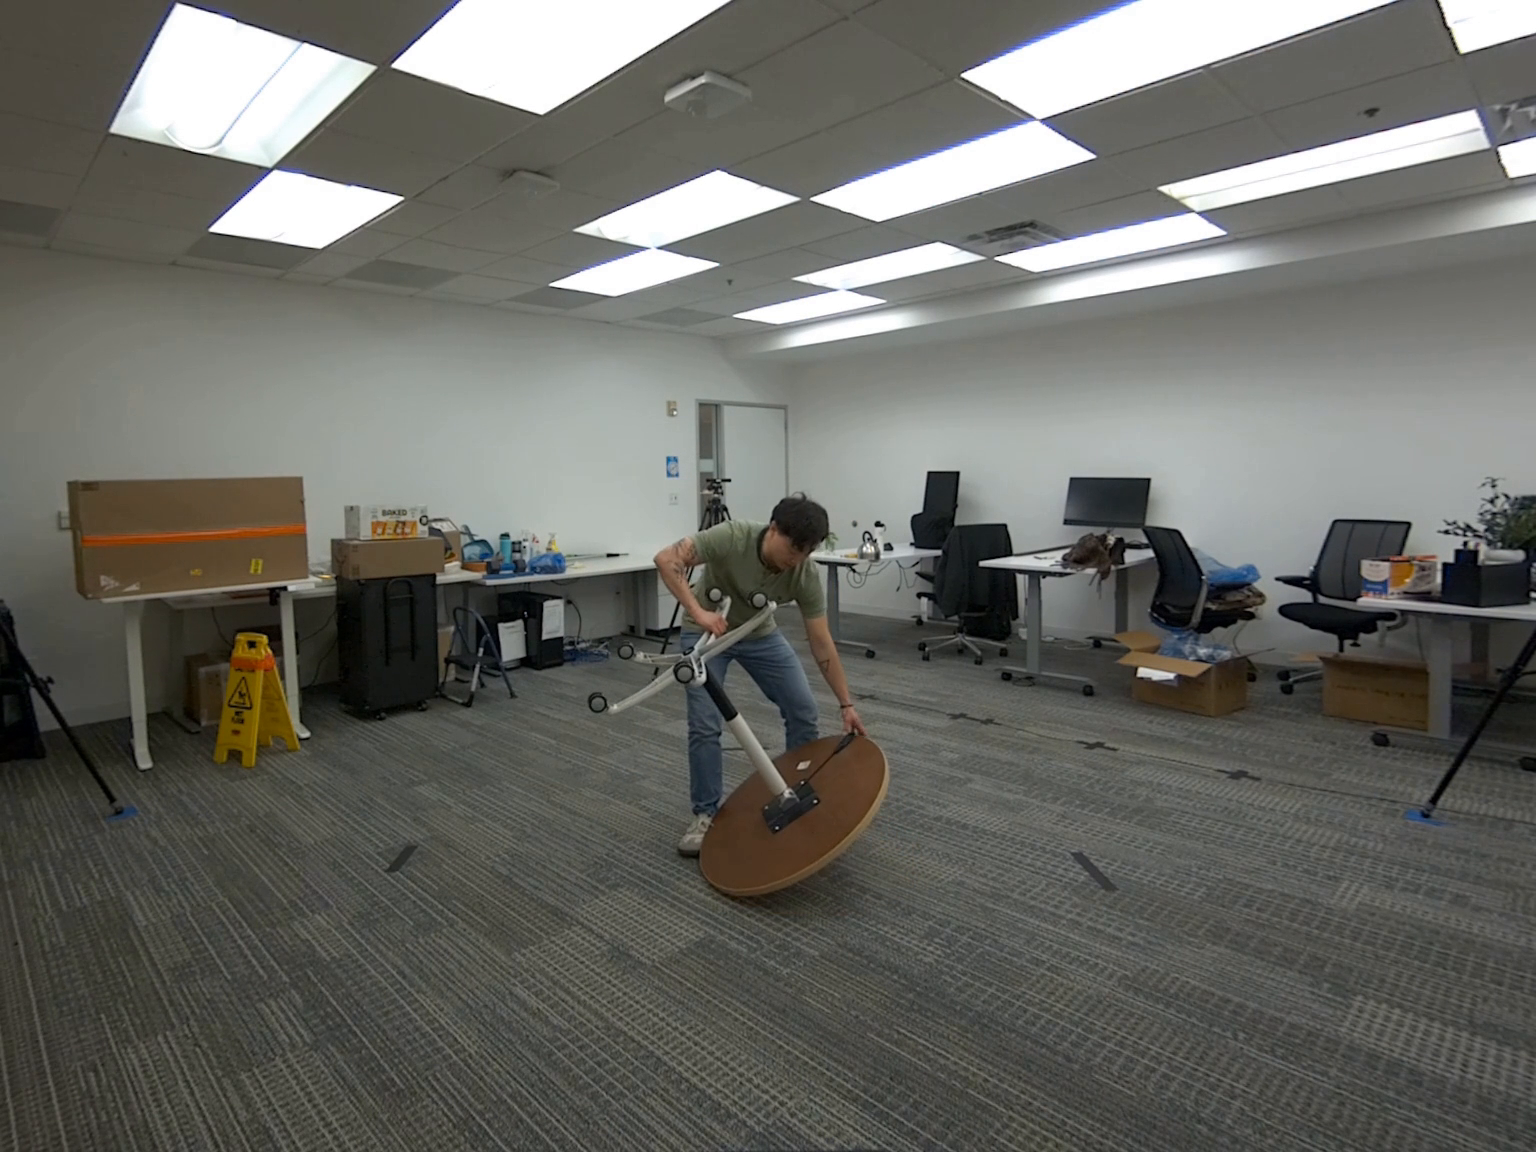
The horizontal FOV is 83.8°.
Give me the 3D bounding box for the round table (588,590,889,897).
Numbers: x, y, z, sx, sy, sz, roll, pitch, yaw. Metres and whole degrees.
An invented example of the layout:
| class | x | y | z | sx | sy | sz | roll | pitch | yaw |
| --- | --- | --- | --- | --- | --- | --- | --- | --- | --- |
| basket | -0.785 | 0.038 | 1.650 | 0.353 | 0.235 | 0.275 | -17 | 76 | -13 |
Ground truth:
| class | x | y | z | sx | sy | sz | roll | pitch | yaw |
| --- | --- | --- | --- | --- | --- | --- | --- | --- | --- |
| round table | -0.107 | 0.517 | 2.984 | 0.766 | 0.780 | 0.775 | -30 | 15 | 7 |
